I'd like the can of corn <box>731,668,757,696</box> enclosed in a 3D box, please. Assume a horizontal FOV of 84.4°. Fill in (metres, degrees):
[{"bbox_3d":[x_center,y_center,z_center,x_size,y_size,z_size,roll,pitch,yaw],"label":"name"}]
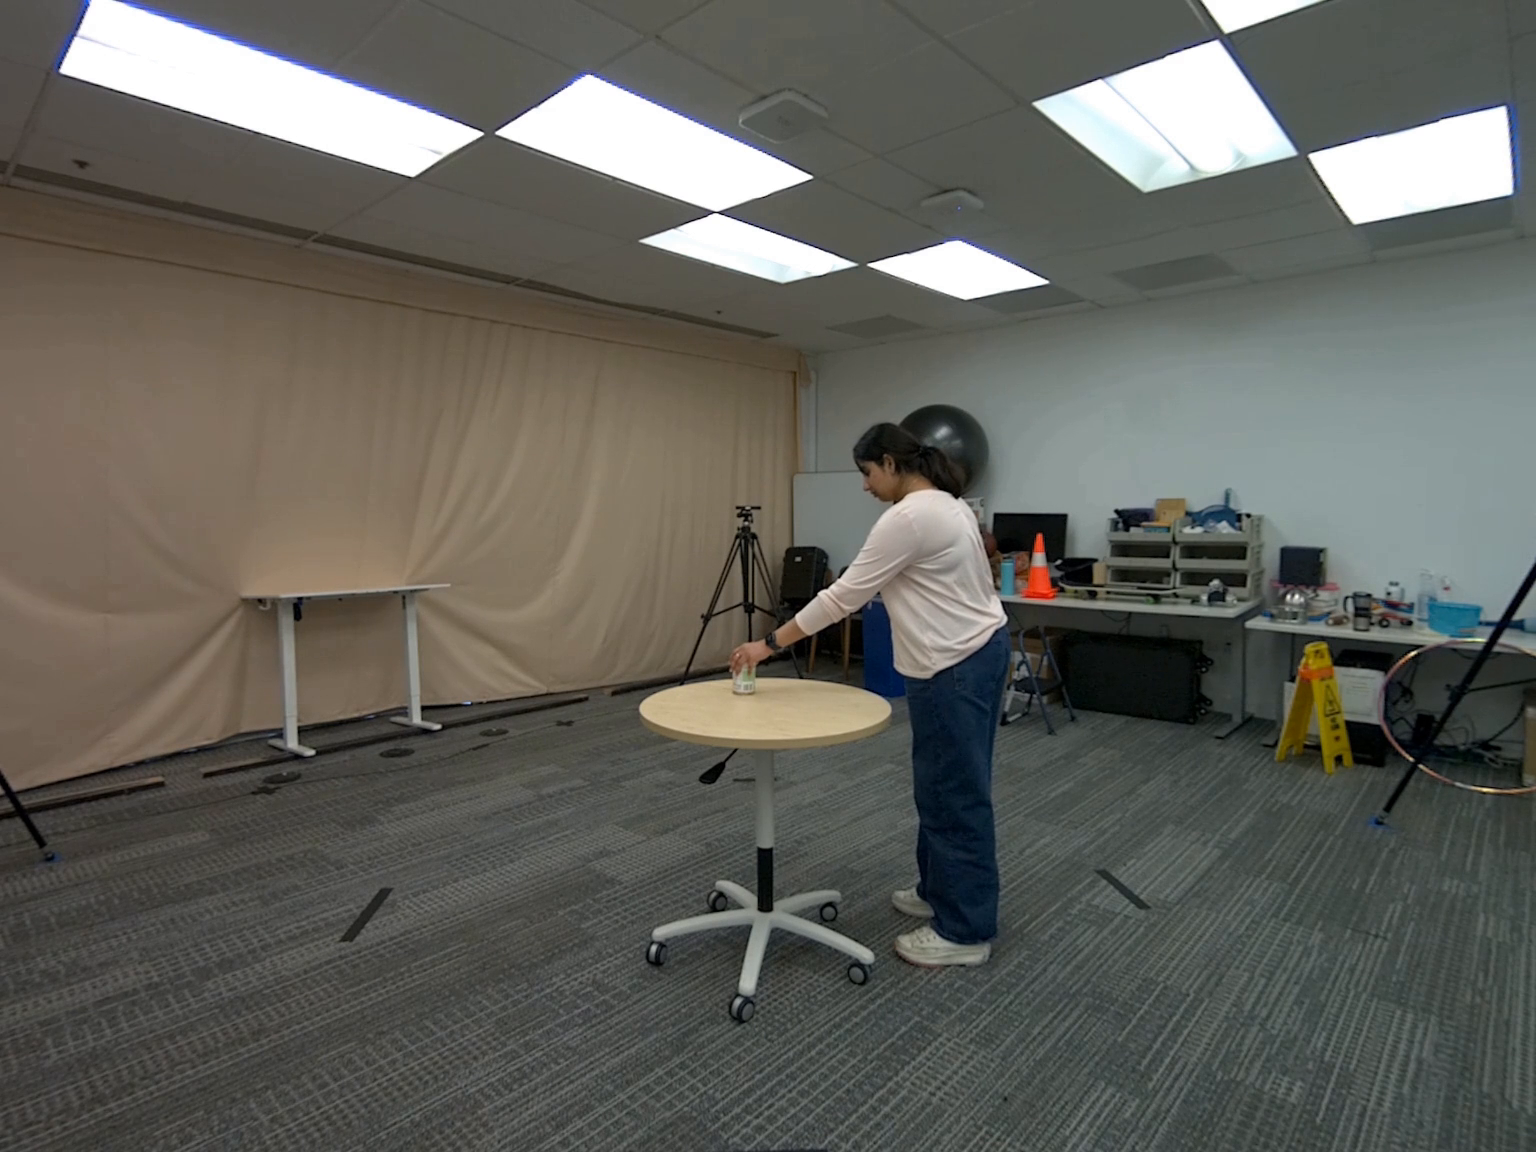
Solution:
[{"bbox_3d":[-0.071,0.329,2.734,0.074,0.111,0.074,3,5,-2],"label":"can of corn"}]
